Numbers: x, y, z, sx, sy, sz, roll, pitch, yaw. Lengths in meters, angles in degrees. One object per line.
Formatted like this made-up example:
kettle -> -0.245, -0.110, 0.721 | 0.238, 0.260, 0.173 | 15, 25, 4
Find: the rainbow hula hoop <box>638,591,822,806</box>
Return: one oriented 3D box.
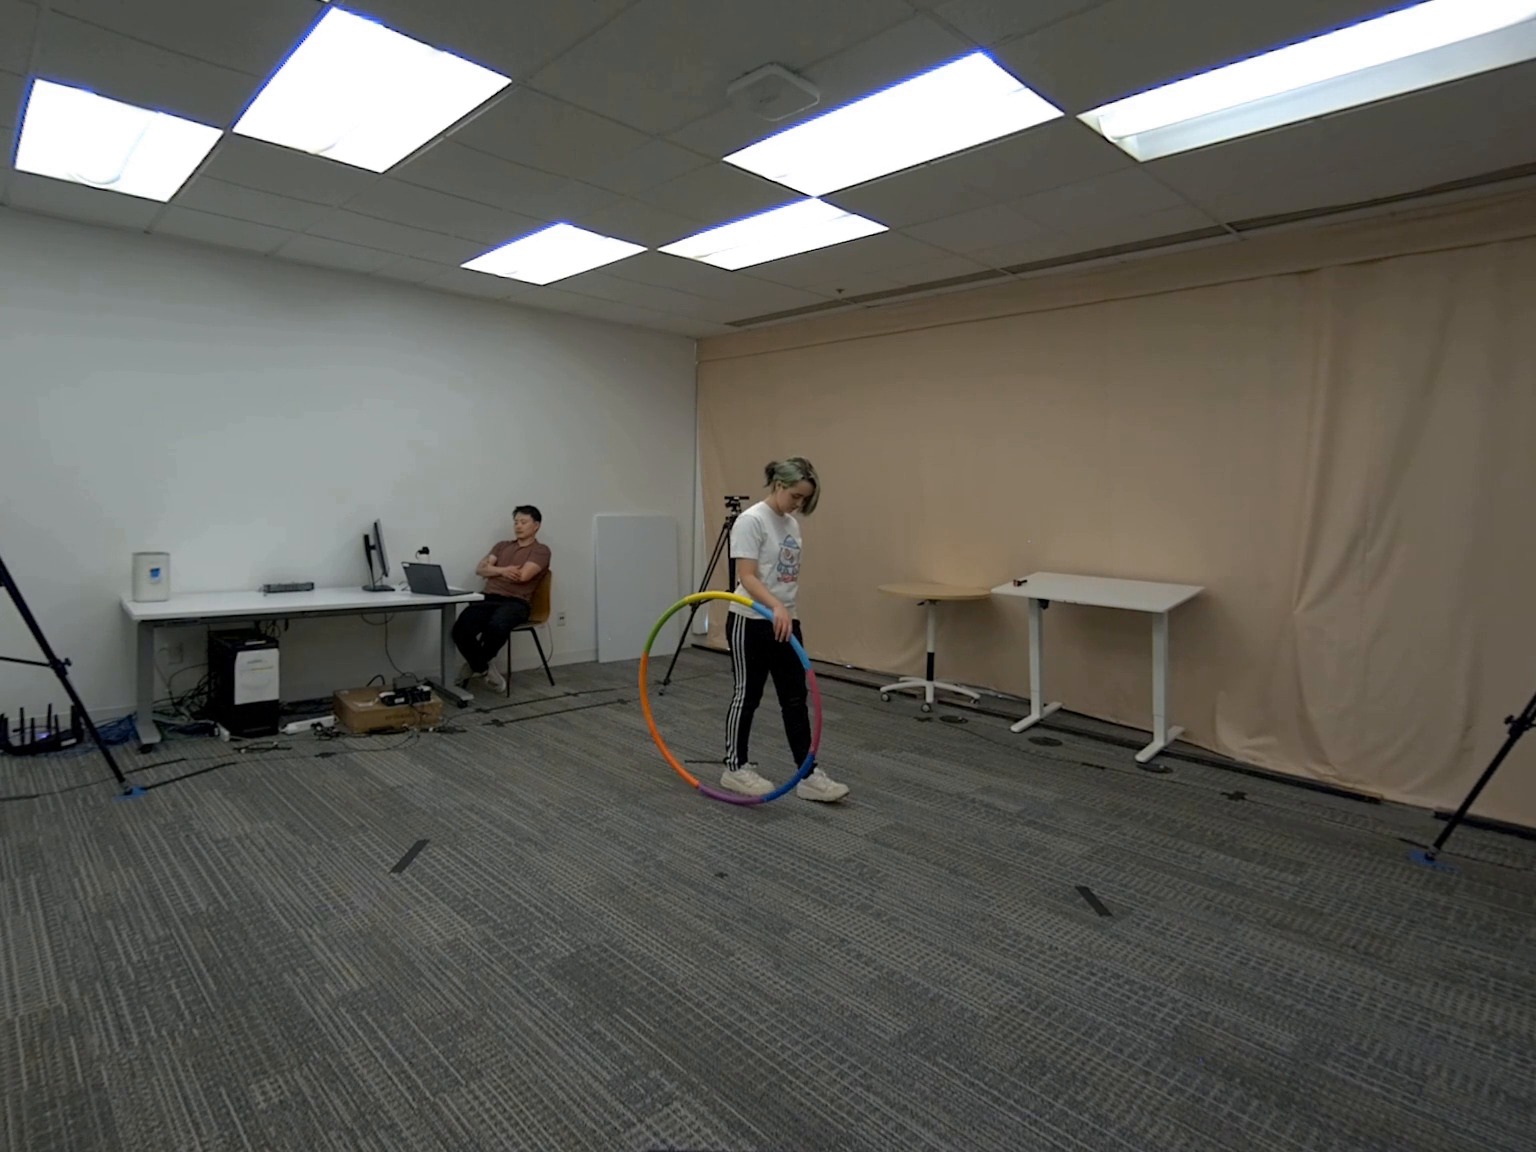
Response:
rainbow hula hoop -> -0.205, 0.561, 3.808 | 1.001, 0.973, 0.035 | 4, 9, 33
